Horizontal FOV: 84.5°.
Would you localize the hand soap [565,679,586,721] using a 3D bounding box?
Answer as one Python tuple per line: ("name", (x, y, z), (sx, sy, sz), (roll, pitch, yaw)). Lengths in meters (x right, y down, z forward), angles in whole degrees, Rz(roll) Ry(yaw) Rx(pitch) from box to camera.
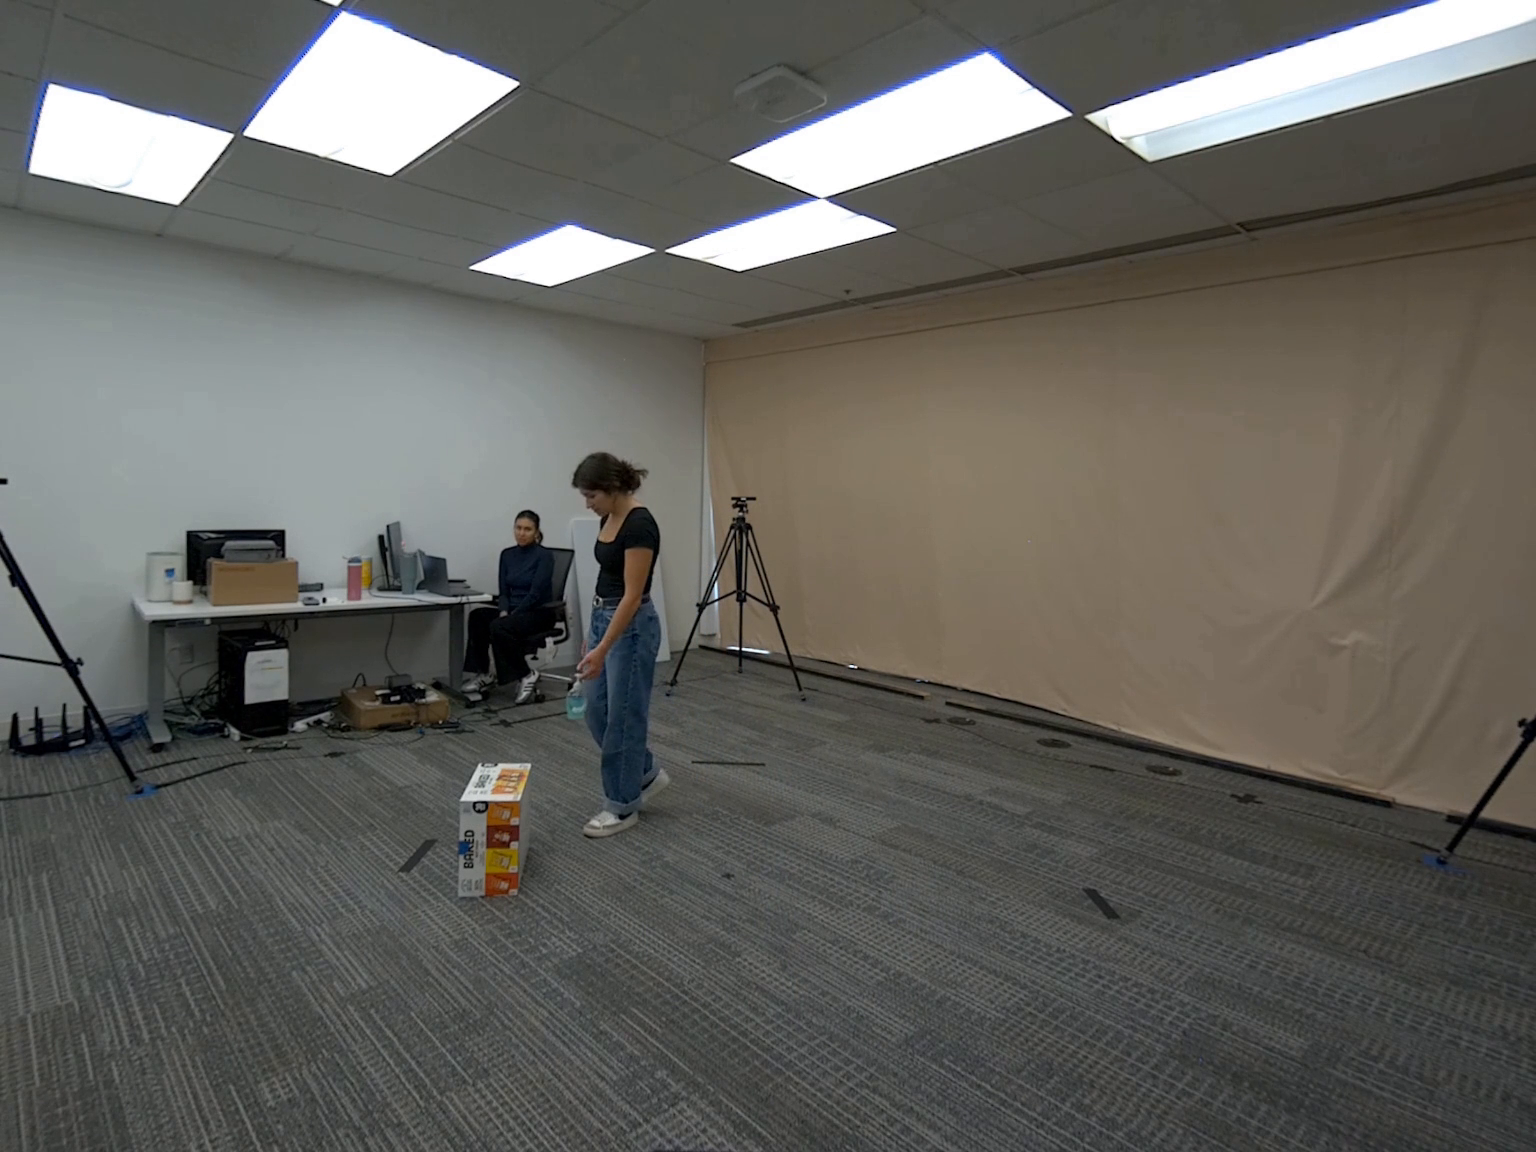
("hand soap", (-0.741, 0.459, 3.203), (0.082, 0.169, 0.044), (7, -6, -36))
